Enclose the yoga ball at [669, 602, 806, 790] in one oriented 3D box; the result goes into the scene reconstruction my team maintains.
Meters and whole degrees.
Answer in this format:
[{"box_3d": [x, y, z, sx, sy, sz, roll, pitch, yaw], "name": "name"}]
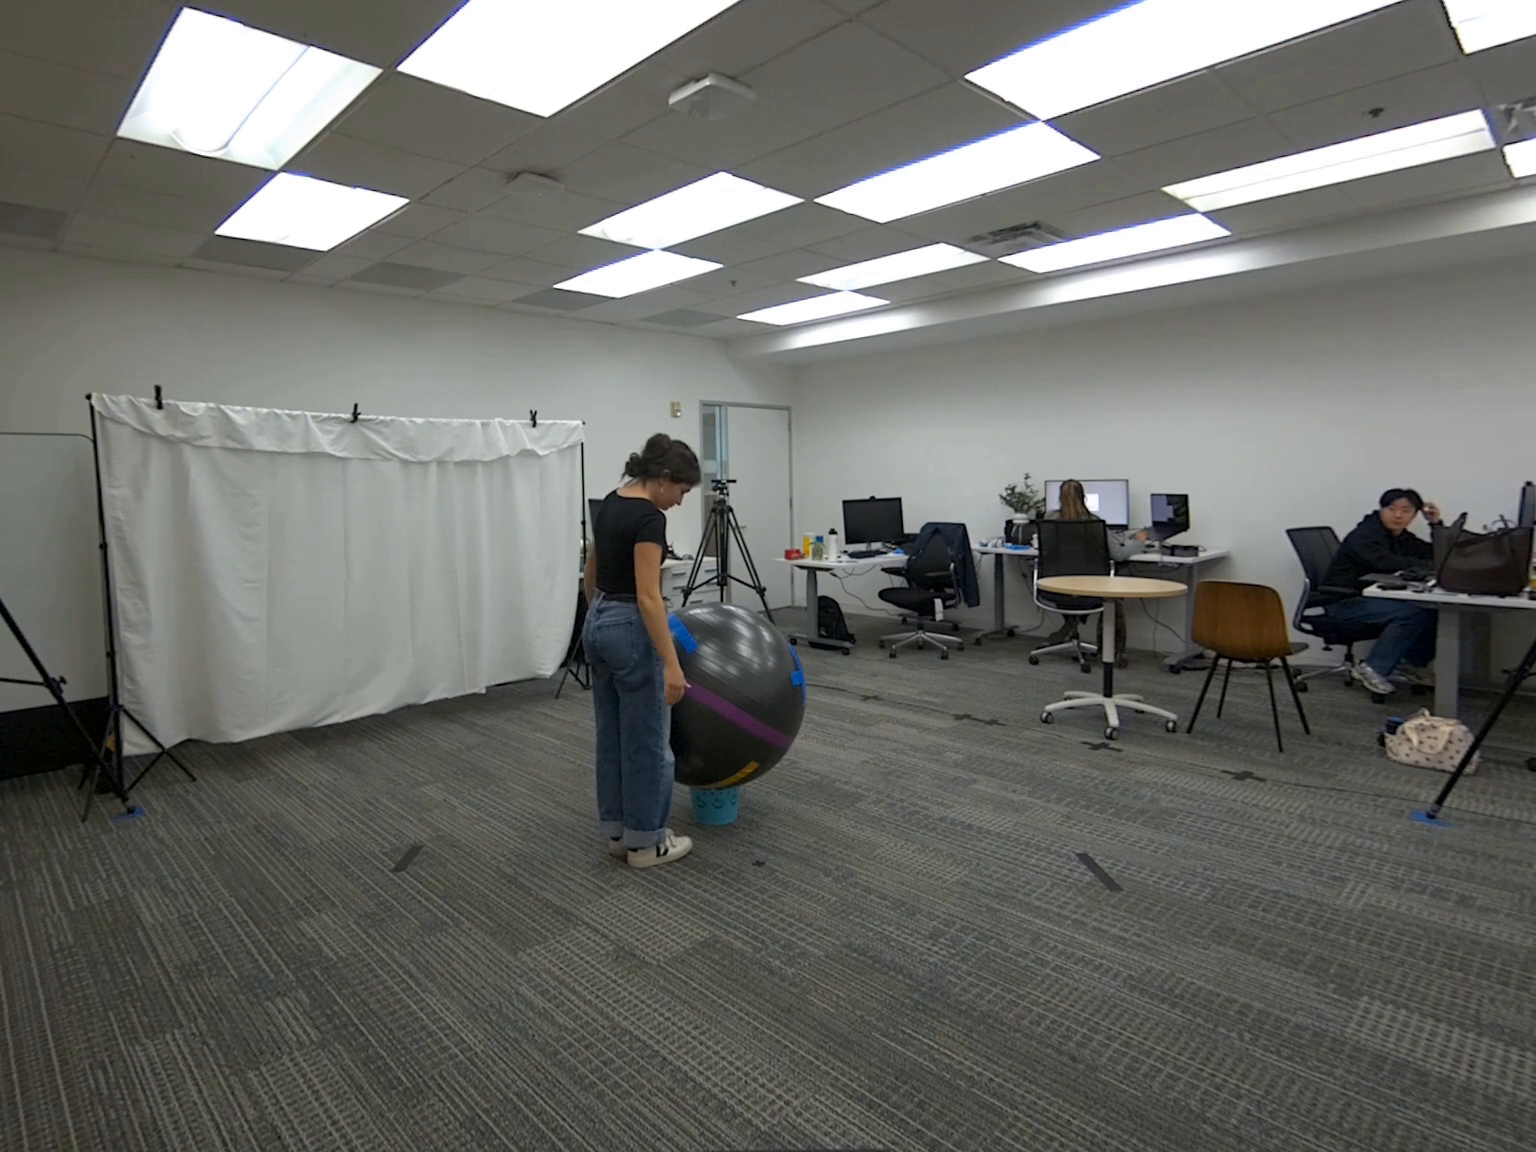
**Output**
[{"box_3d": [-0.227, 0.490, 3.553, 0.757, 0.755, 0.762, -1, 5, -2], "name": "yoga ball"}]
